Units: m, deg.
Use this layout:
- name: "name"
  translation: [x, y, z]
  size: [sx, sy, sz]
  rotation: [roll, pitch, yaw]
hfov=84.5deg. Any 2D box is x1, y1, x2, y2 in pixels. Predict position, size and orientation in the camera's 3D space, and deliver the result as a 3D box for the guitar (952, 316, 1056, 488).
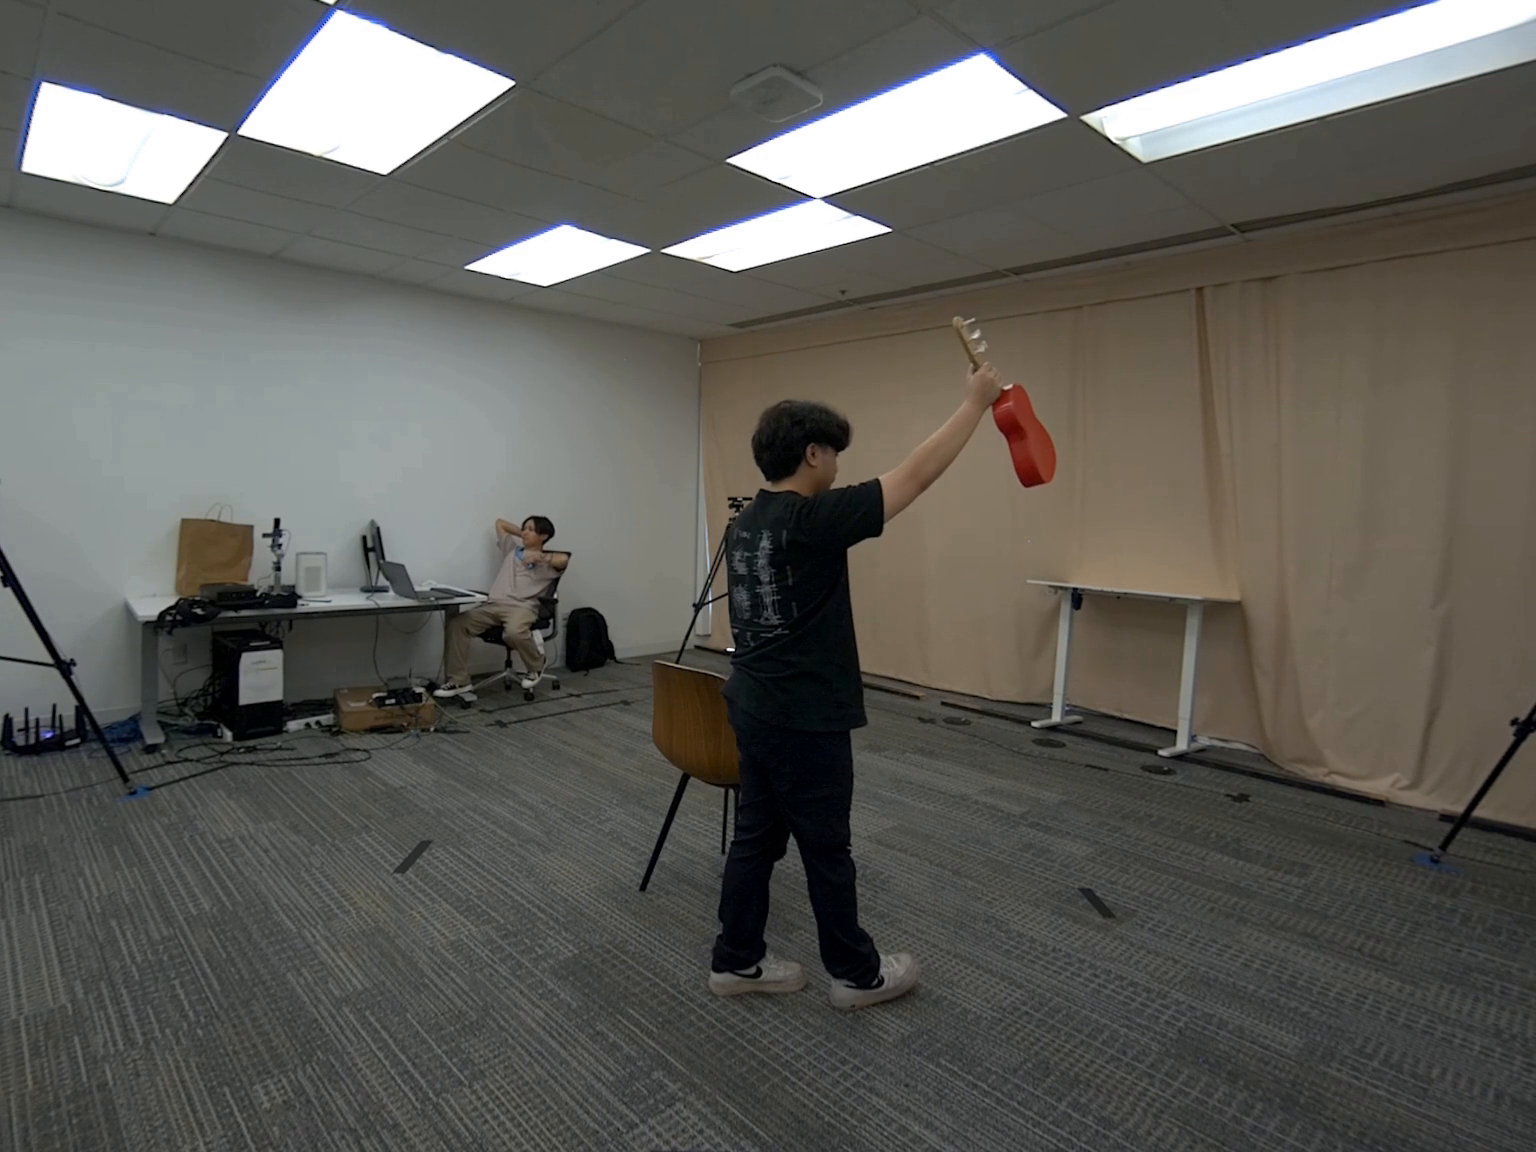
- name: "guitar"
  translation: [0.609, -0.449, 2.199]
  size: [0.072, 0.486, 0.194]
  rotation: [-19, 30, 38]
